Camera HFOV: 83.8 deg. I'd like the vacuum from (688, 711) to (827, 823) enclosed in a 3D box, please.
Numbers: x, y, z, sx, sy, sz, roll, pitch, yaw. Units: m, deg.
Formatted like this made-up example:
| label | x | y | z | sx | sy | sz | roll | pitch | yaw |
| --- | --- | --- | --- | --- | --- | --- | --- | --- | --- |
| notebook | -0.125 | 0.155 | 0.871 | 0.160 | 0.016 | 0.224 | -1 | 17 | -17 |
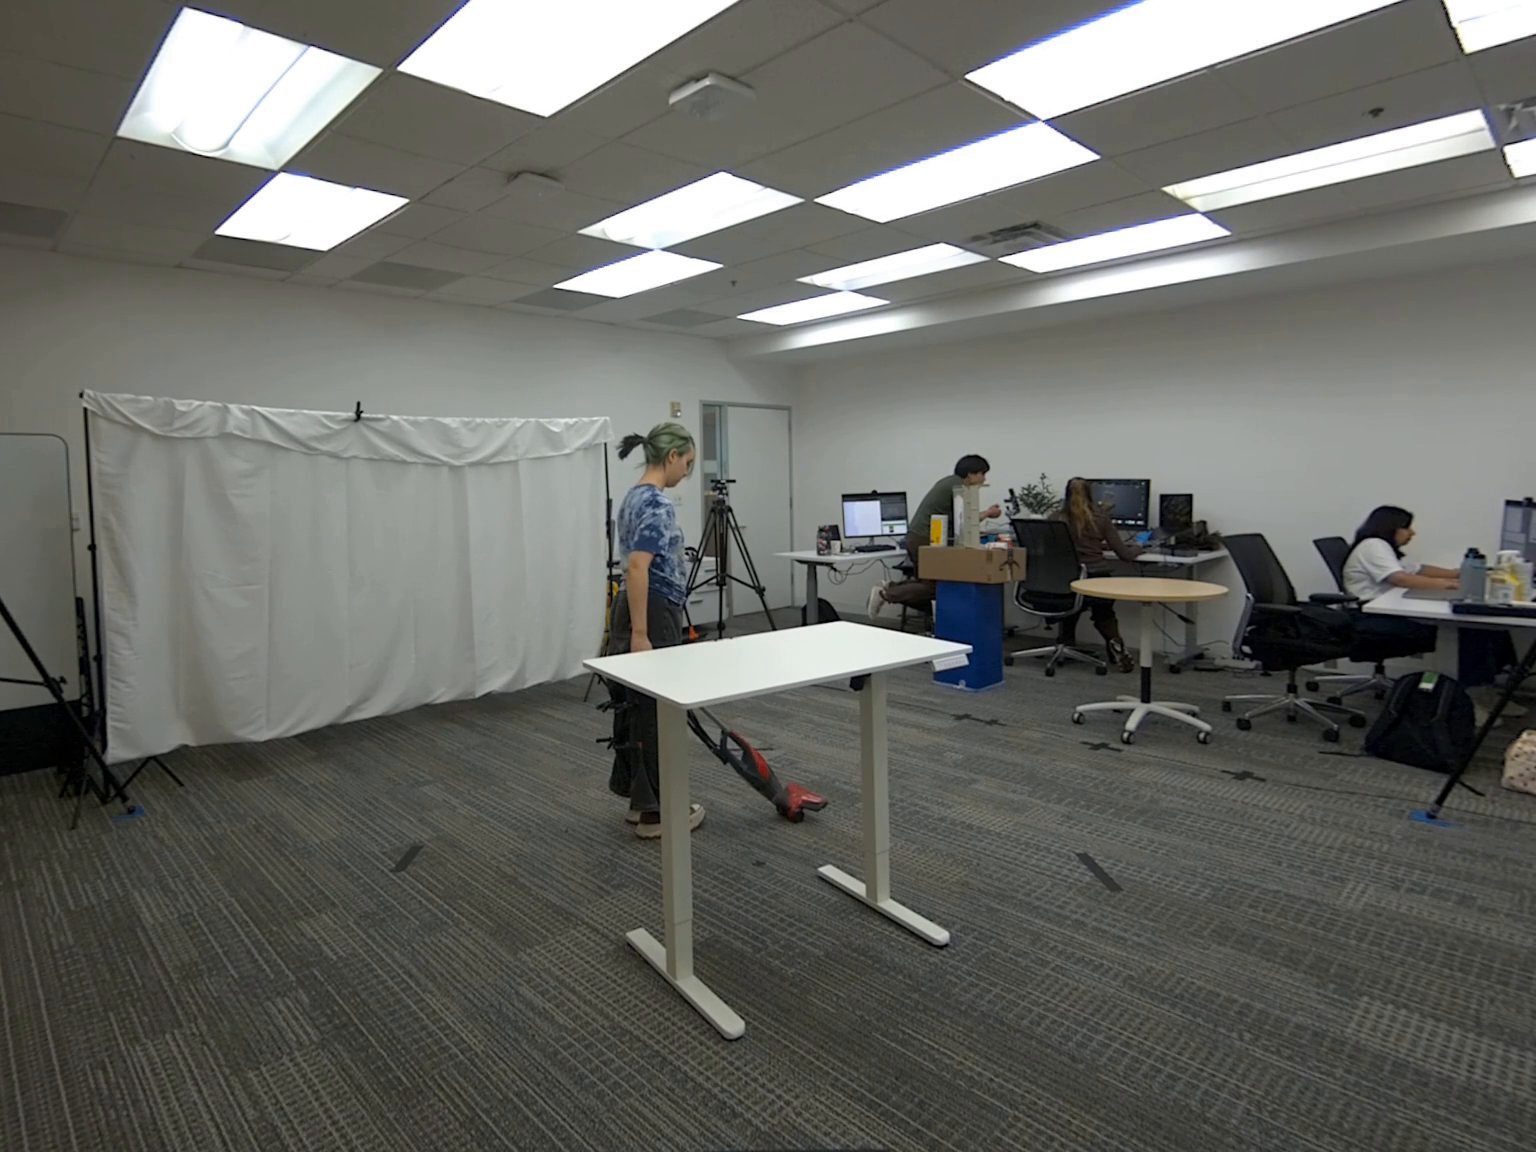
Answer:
| label | x | y | z | sx | sy | sz | roll | pitch | yaw |
| --- | --- | --- | --- | --- | --- | --- | --- | --- | --- |
| vacuum | -0.188 | 0.638 | 3.346 | 1.019 | 0.144 | 0.260 | 44 | -15 | -24 |
